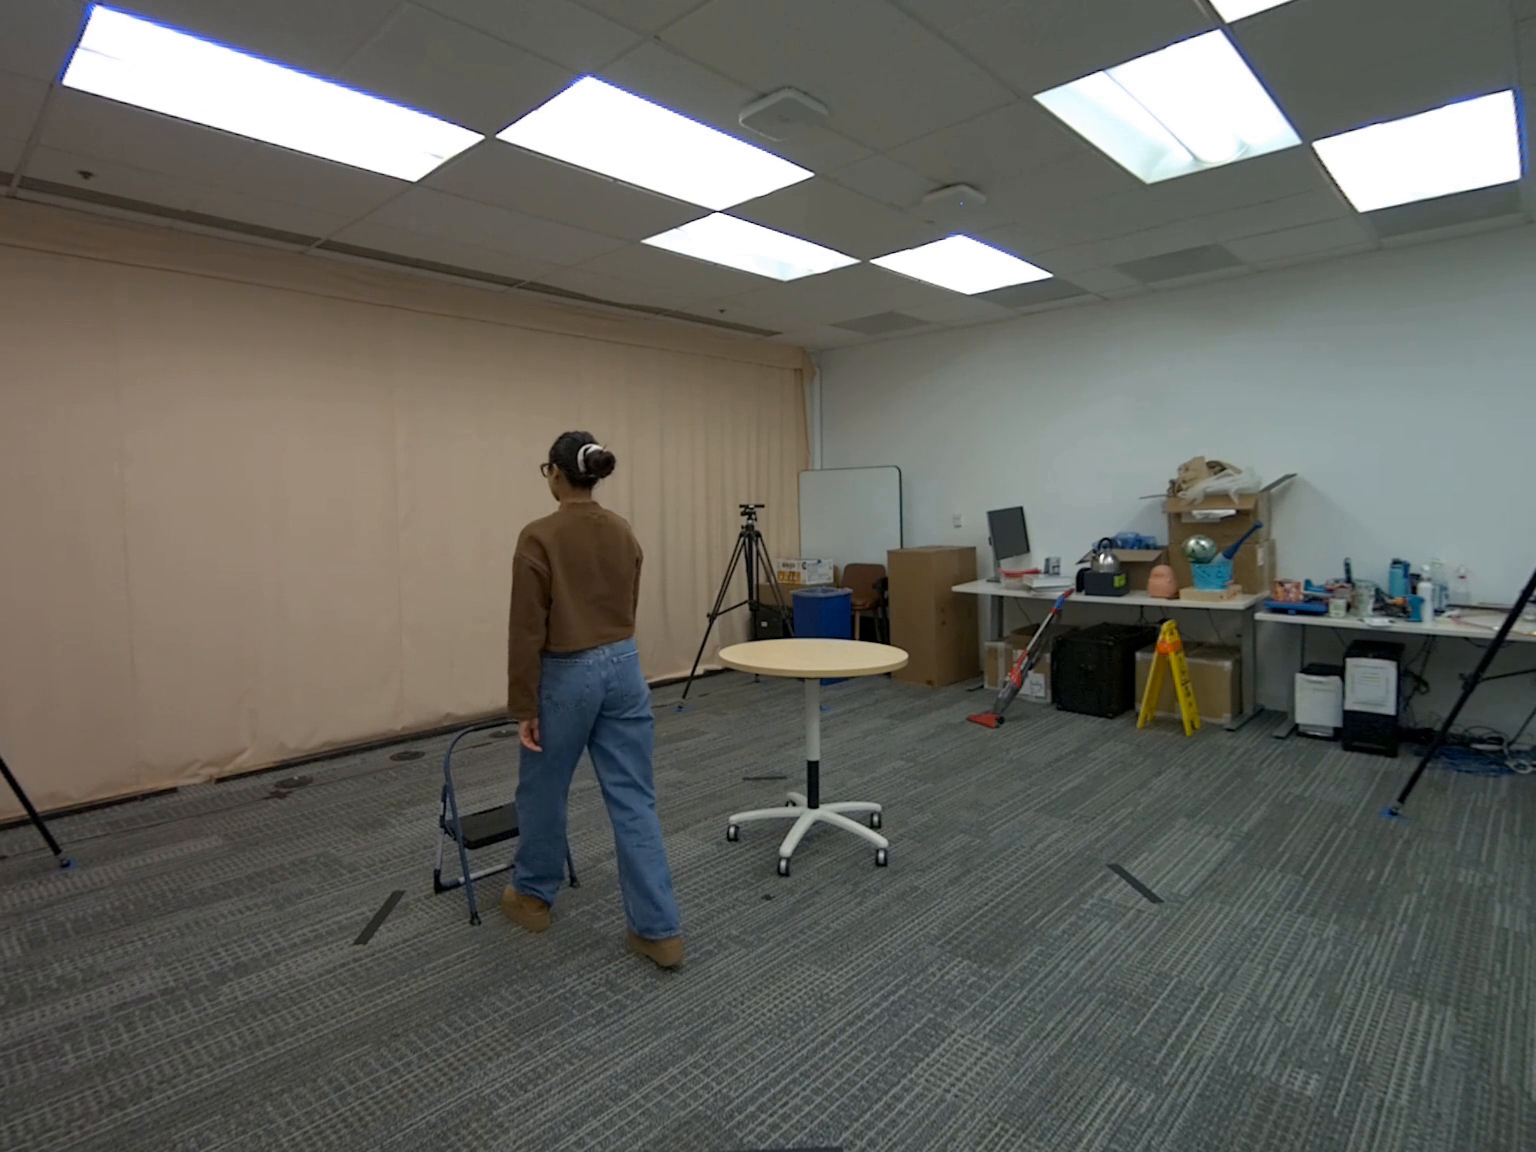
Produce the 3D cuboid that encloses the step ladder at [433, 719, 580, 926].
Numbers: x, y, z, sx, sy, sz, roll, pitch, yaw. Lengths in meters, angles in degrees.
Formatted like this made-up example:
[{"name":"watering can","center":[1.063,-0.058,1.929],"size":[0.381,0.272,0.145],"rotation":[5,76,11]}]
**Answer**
[{"name":"step ladder","center":[-0.972,0.857,3.086],"size":[0.417,0.604,0.361],"rotation":[-5,5,-44]}]
